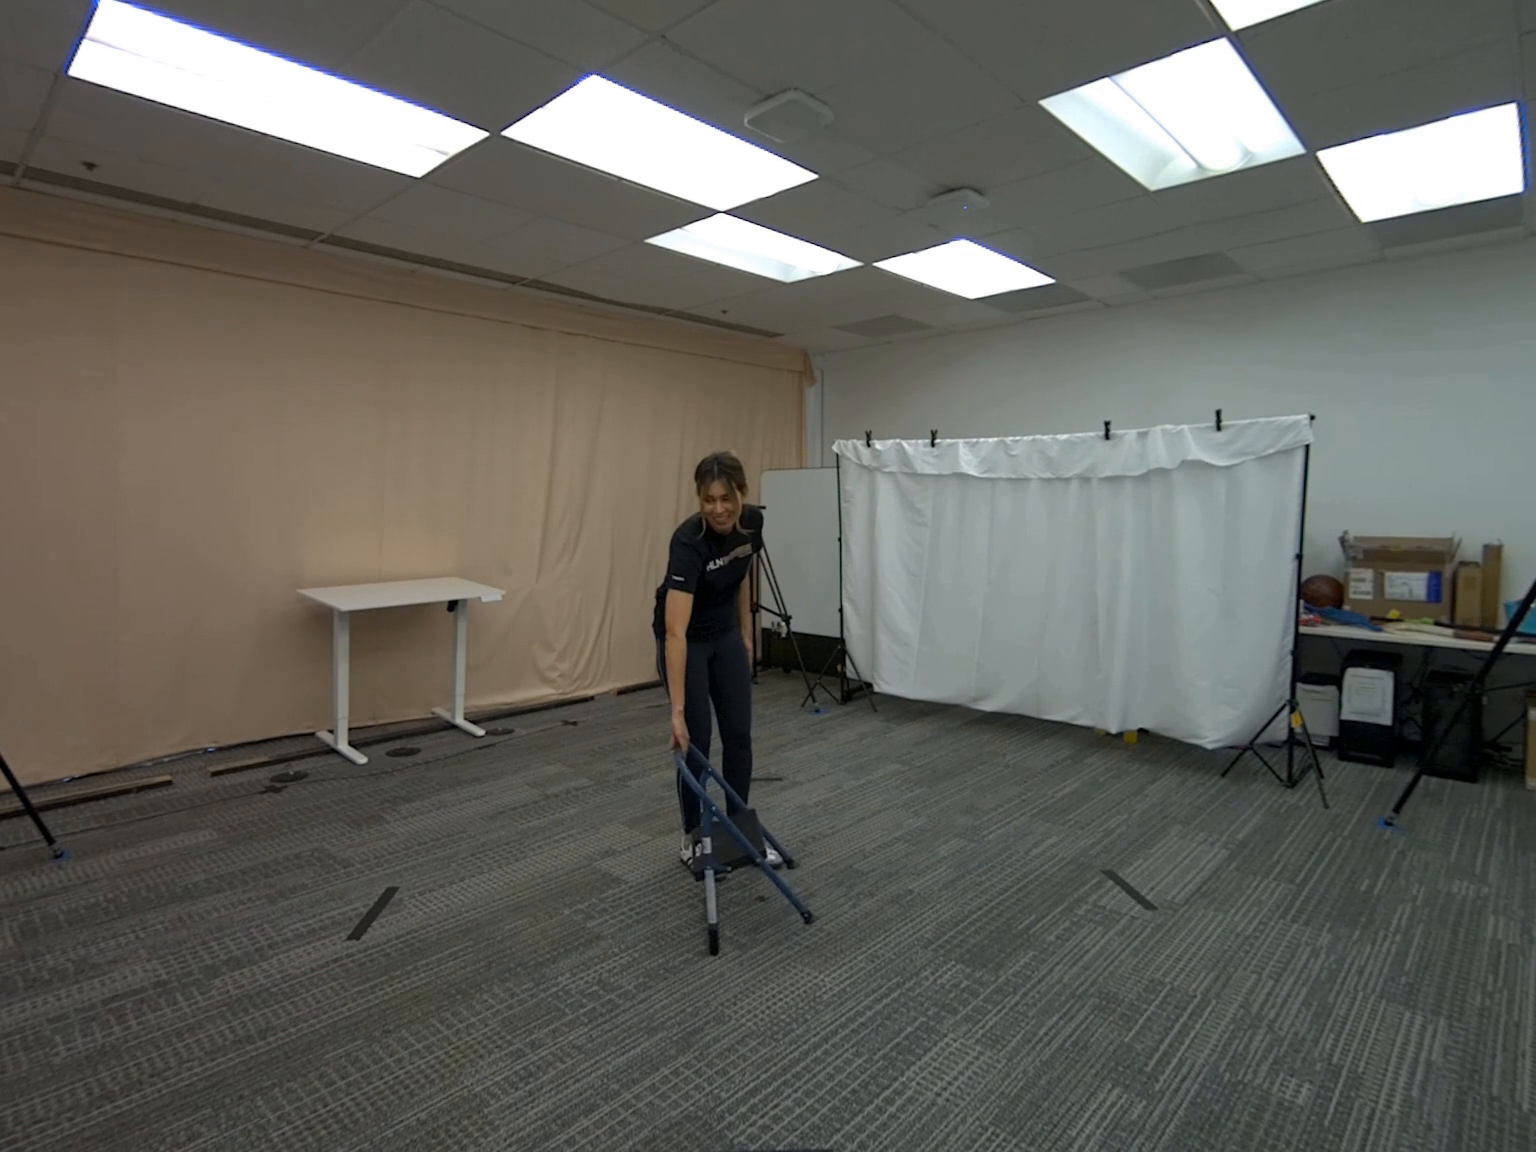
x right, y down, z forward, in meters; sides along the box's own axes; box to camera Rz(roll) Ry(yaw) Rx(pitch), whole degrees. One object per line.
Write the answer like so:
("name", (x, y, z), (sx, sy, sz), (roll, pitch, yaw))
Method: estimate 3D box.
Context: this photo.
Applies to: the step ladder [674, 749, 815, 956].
("step ladder", (-0.124, 0.824, 2.798), (0.348, 0.604, 0.433), (-19, 4, -5))
